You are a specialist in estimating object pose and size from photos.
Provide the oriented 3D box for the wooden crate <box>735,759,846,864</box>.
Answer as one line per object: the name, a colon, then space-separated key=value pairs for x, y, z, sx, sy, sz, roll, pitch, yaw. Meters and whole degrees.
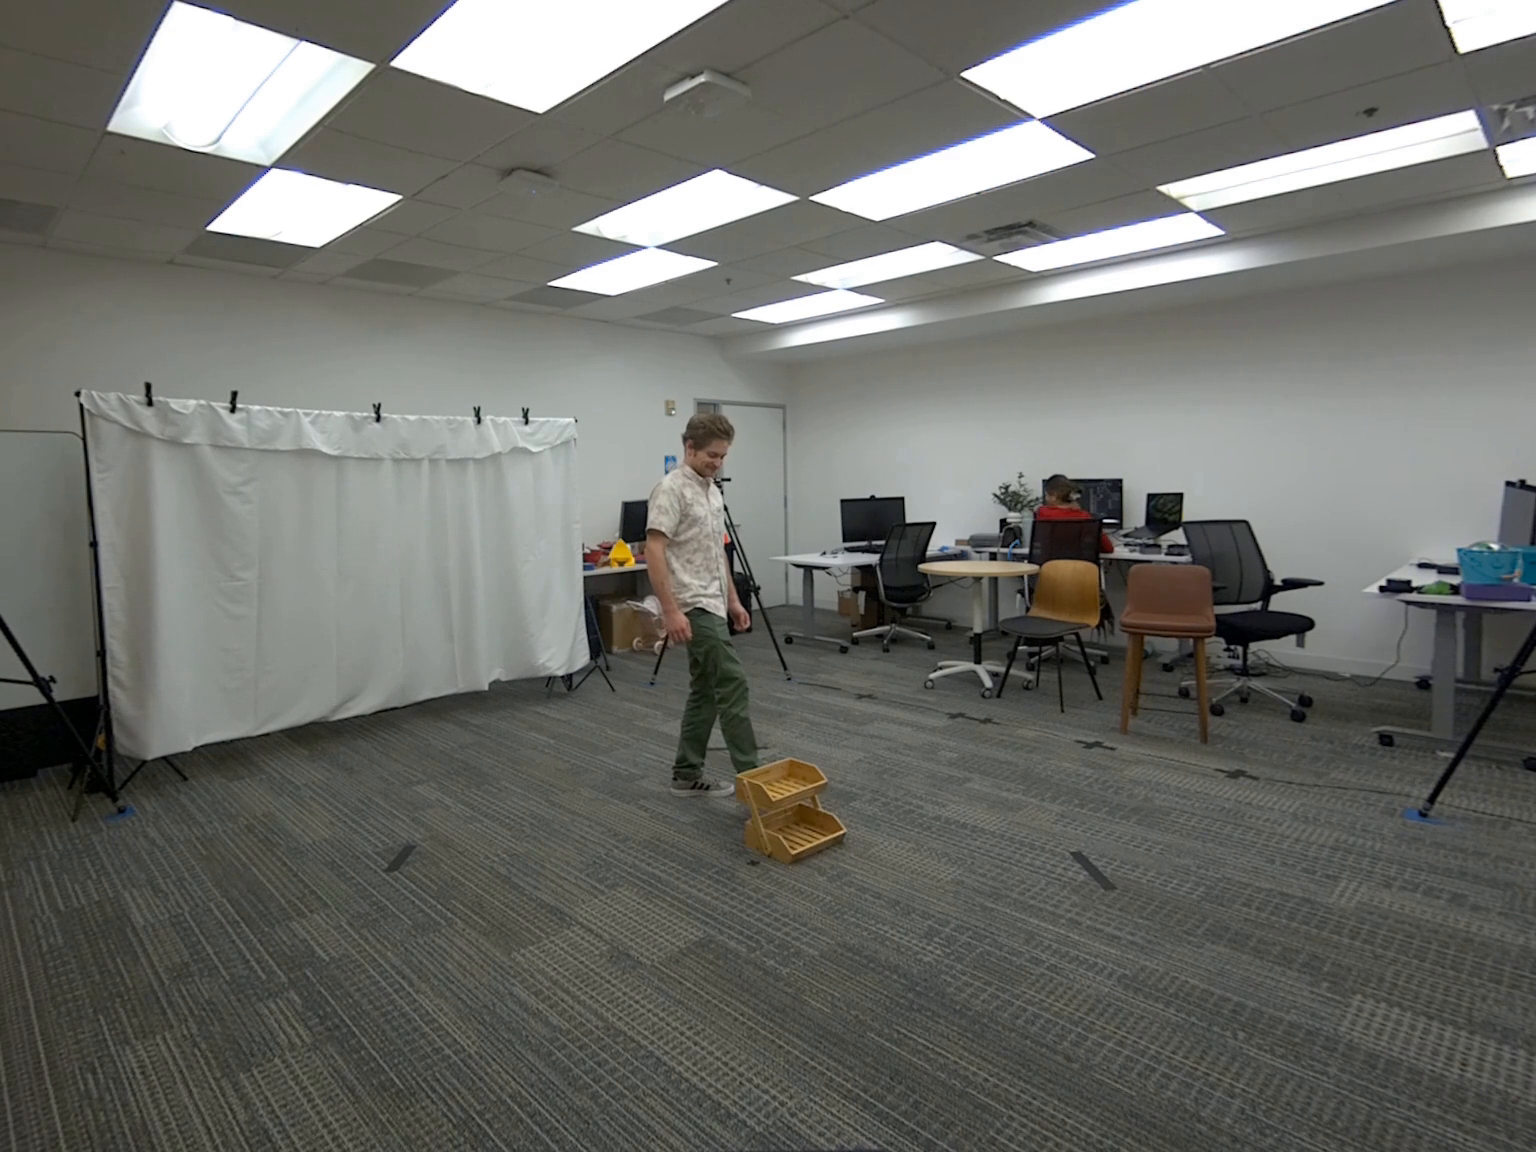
wooden crate: x=0.089 y=0.887 z=3.272 sx=0.316 sy=0.272 sz=0.311 roll=-6 pitch=6 yaw=-42
